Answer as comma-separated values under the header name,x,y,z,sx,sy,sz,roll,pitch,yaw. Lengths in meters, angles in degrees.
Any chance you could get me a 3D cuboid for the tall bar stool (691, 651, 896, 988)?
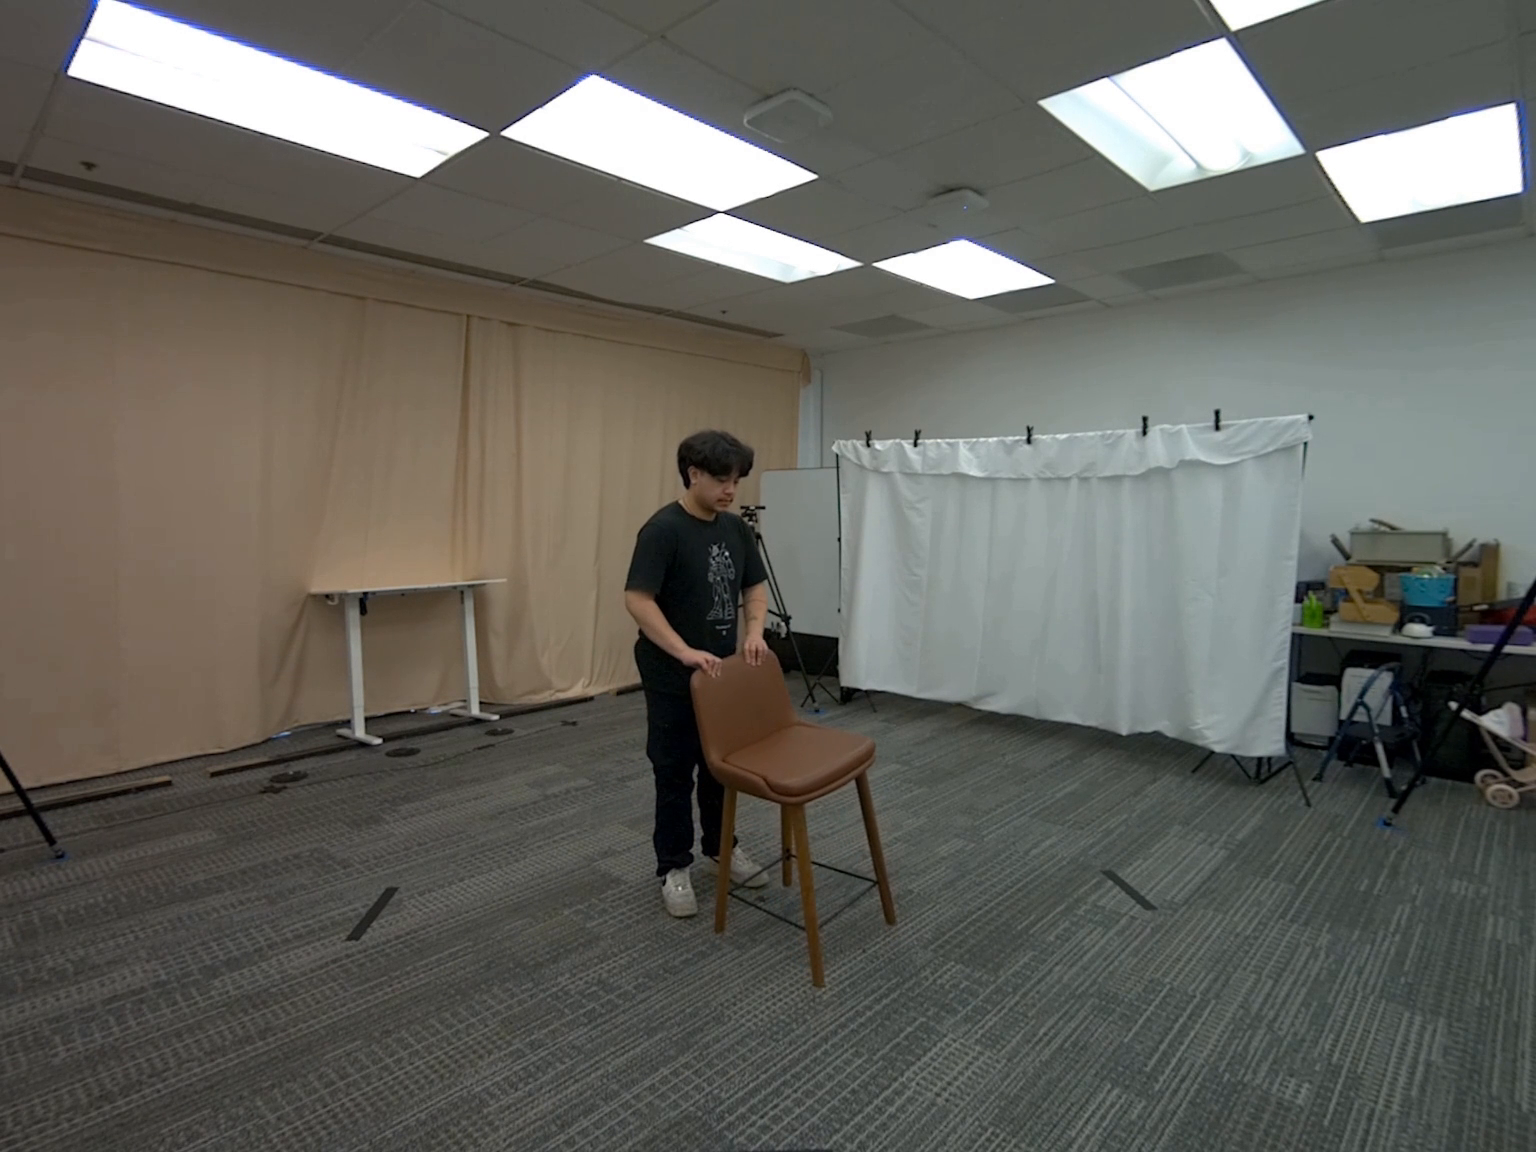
name,x,y,z,sx,sy,sz,roll,pitch,yaw
tall bar stool,0.076,0.713,2.679,0.483,0.886,0.444,0,8,44
